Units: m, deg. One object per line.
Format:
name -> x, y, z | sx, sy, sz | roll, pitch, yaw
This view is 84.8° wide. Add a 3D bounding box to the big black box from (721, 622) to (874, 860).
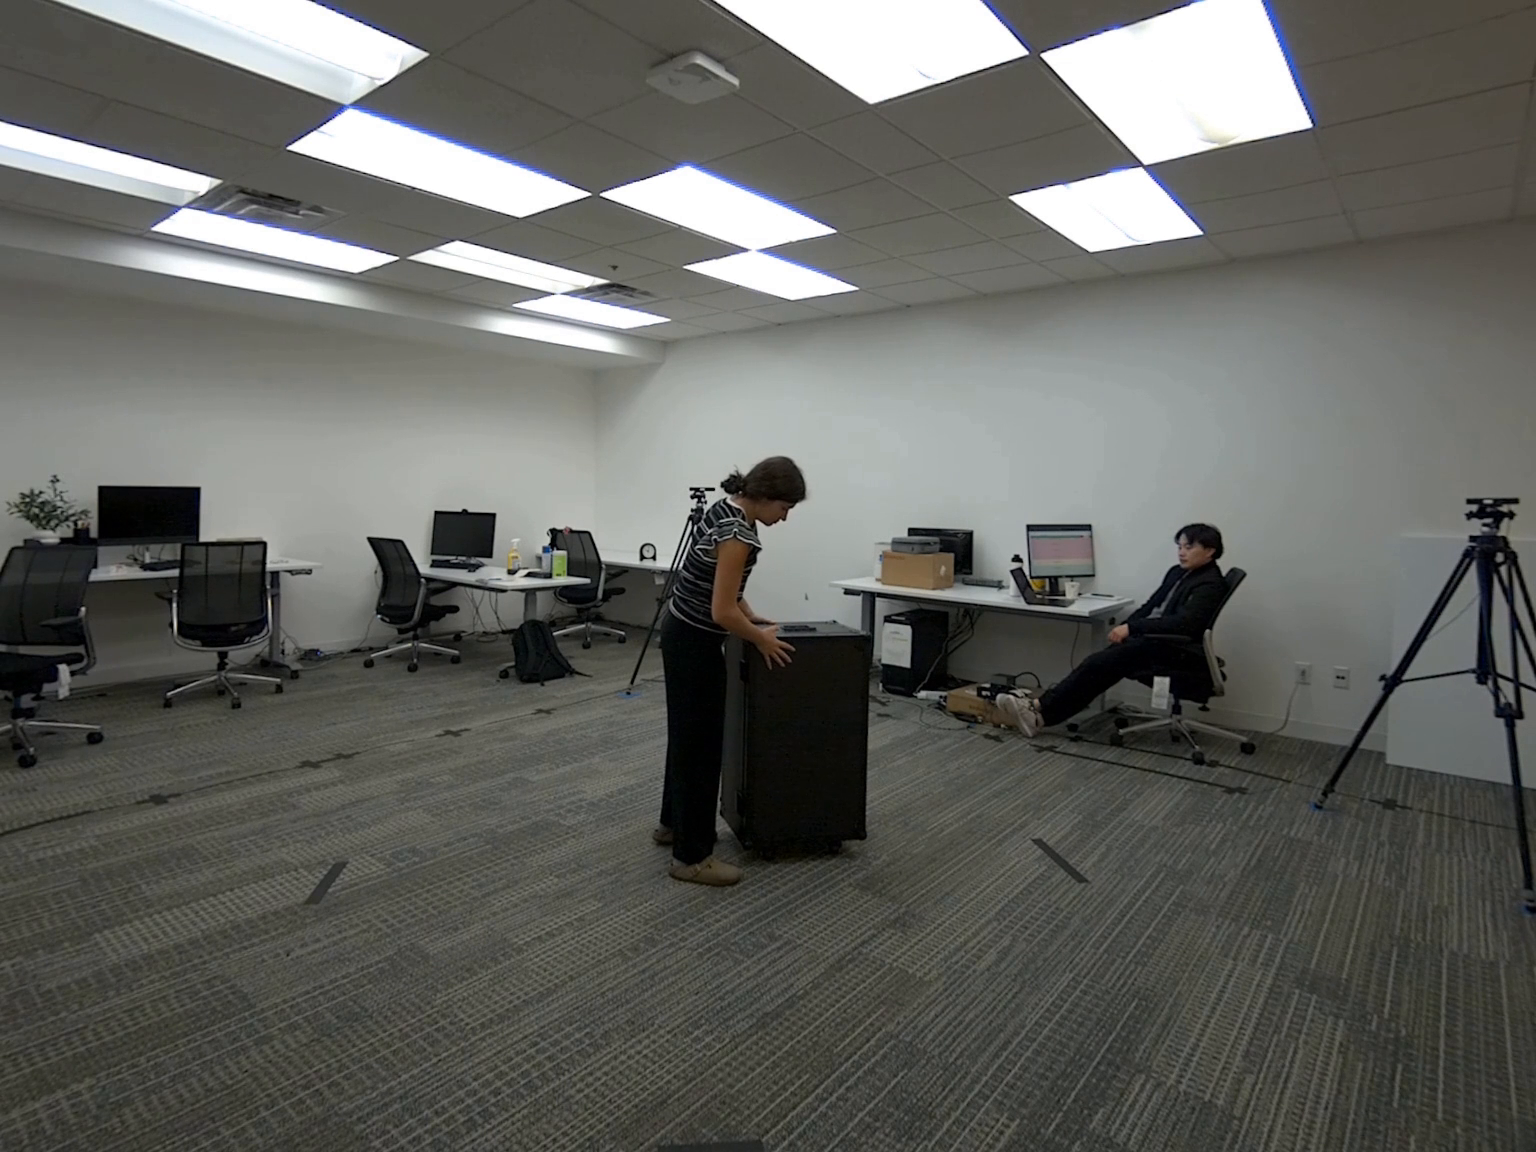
big black box -> 0.086, 0.624, 3.338 | 0.513, 0.860, 0.403 | 0, 2, -16
